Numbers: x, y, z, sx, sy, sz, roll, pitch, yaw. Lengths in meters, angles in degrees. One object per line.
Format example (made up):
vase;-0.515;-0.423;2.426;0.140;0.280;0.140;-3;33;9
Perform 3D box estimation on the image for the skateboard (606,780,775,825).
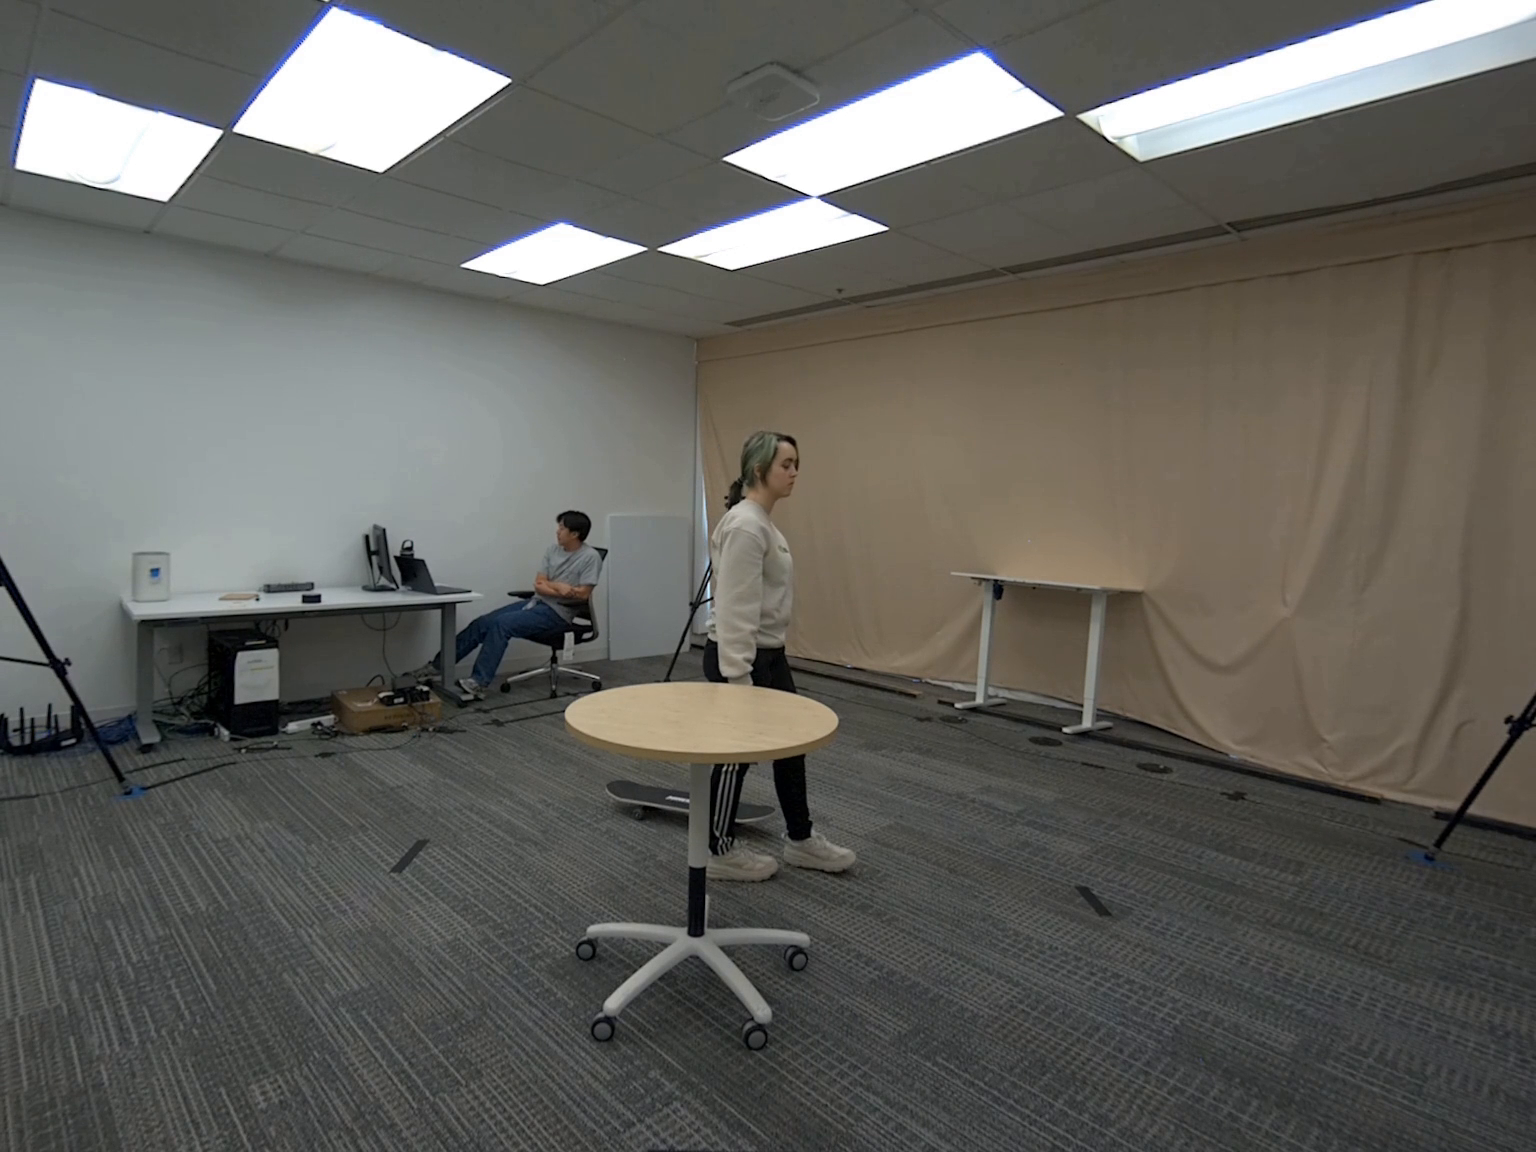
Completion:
skateboard;-0.356;0.995;3.613;0.799;0.110;0.190;4;5;23
